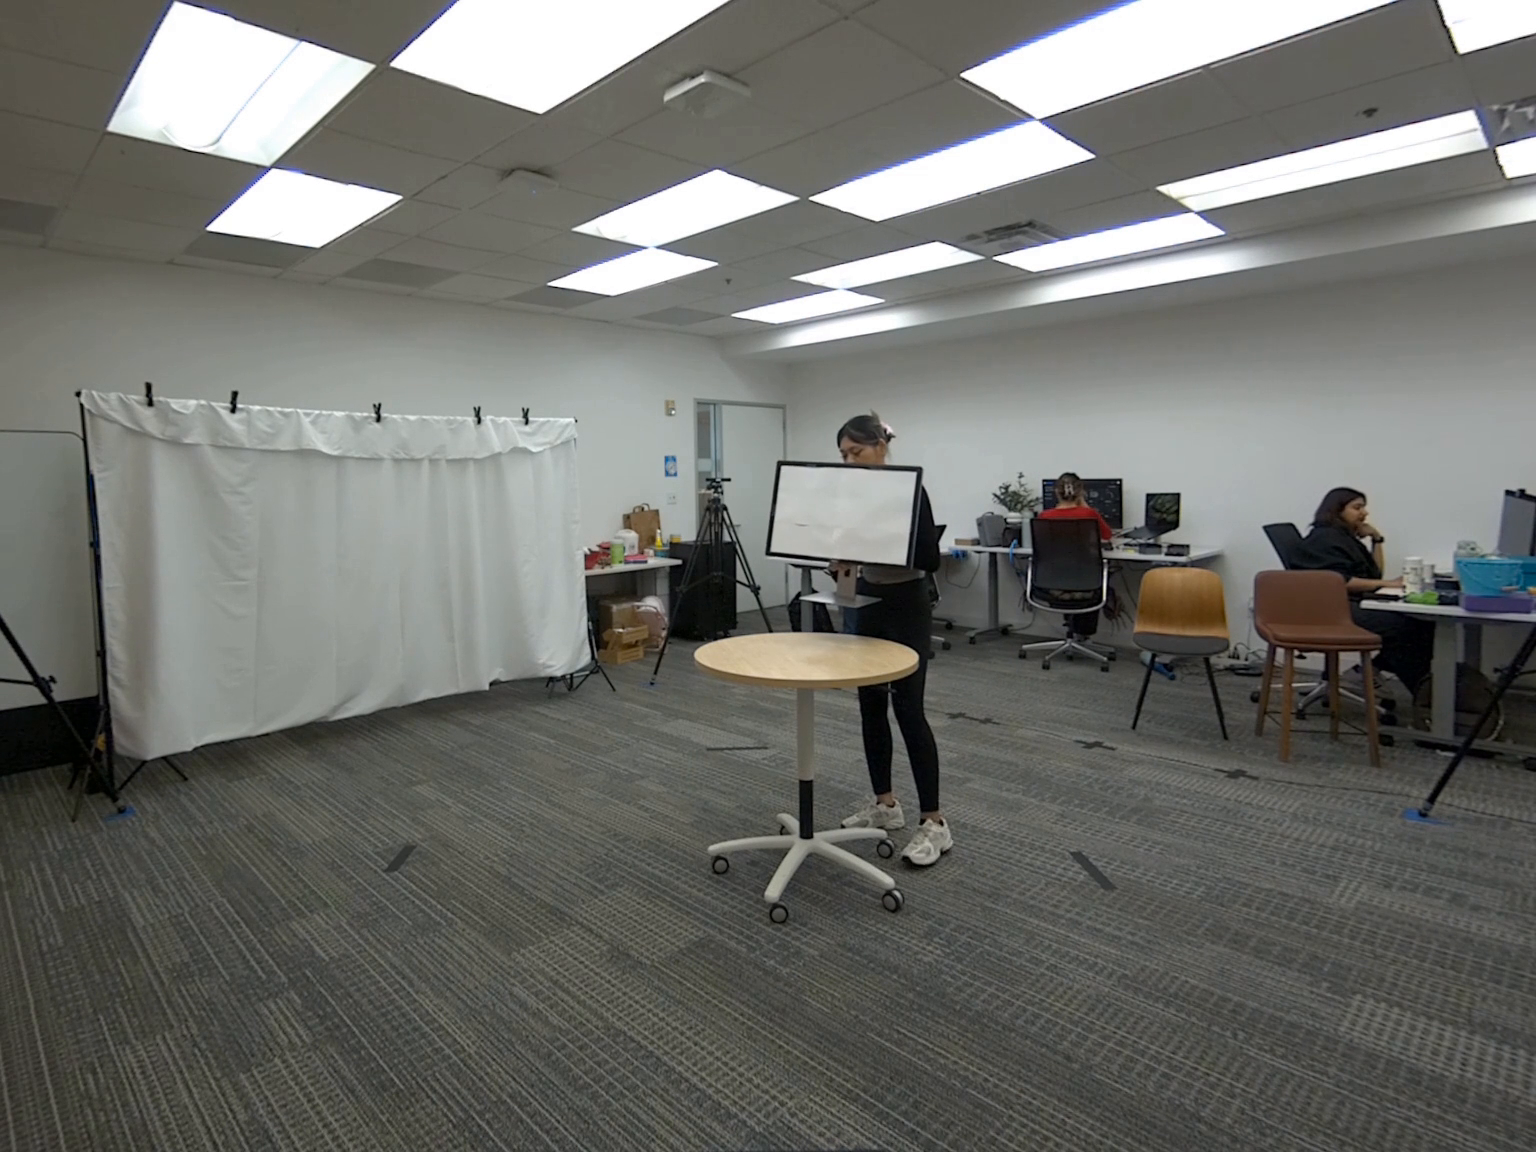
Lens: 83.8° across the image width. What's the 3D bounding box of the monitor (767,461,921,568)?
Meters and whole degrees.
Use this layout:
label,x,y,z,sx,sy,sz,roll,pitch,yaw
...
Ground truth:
label,x,y,z,sx,sy,sz,roll,pitch,yaw
monitor,0.280,-0.150,3.125,0.553,0.519,0.183,6,8,26
